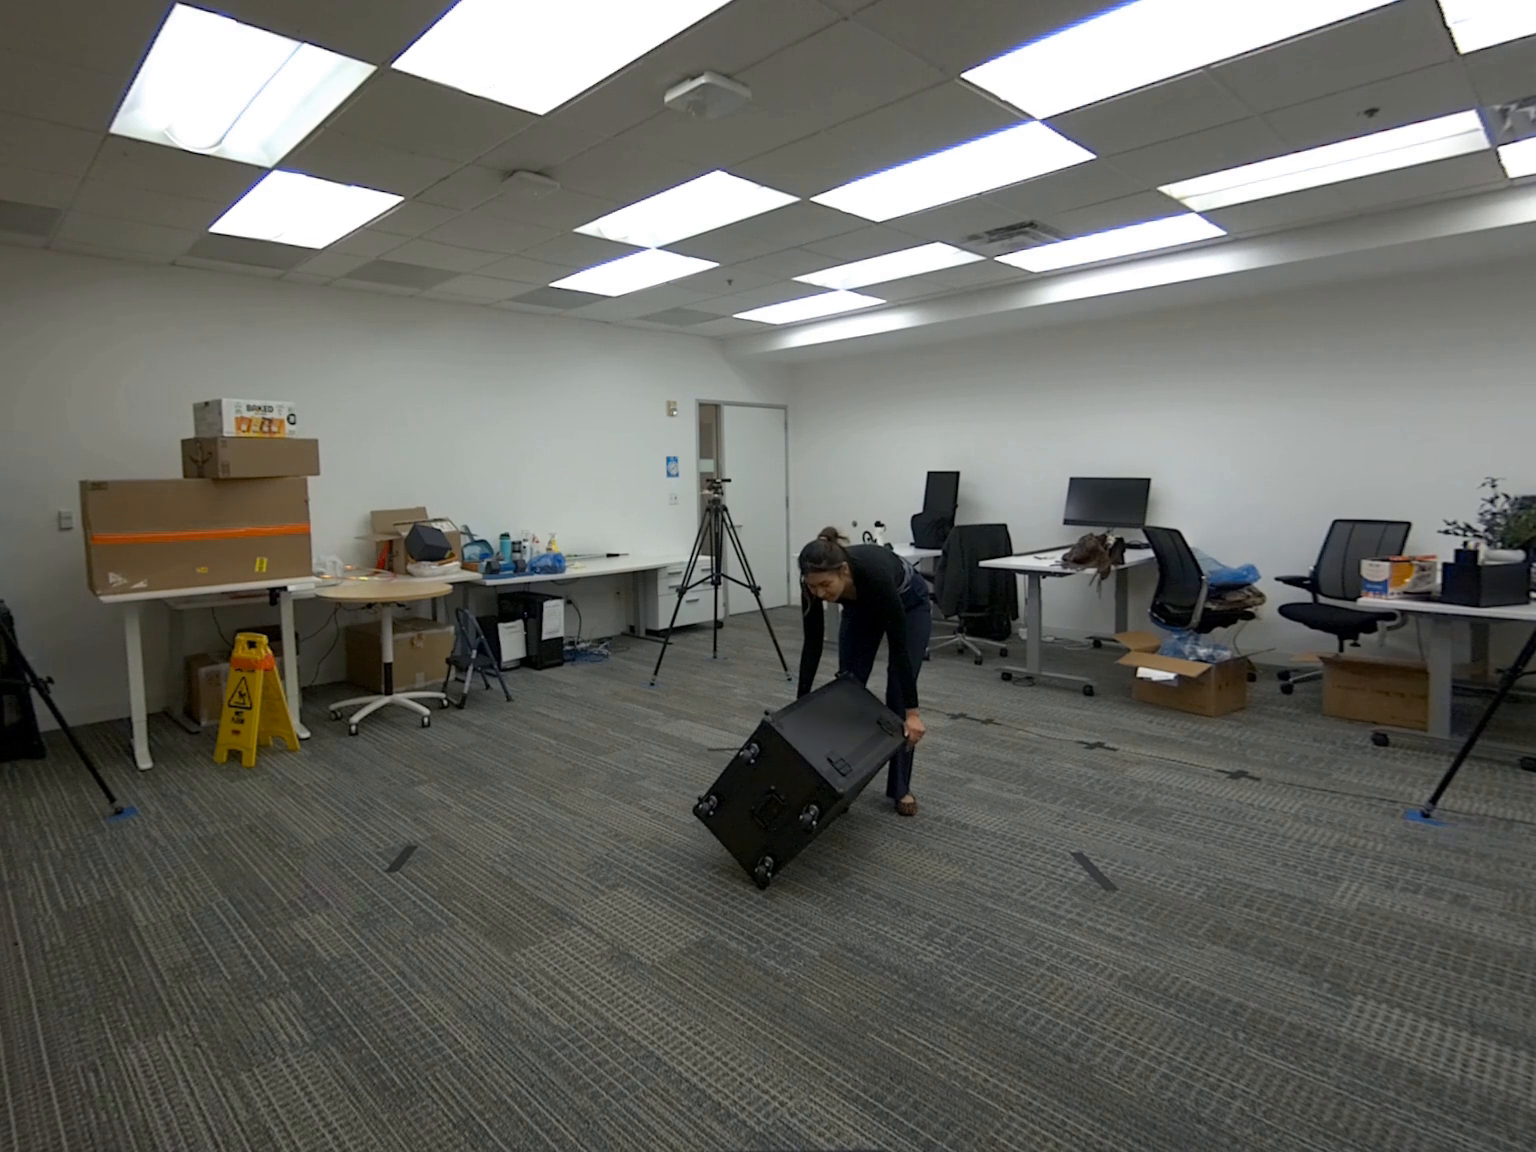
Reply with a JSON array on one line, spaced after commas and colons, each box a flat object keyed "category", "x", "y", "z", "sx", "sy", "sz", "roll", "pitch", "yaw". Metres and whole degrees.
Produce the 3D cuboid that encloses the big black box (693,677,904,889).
[{"category": "big black box", "x": 0.132, "y": 0.728, "z": 3.181, "sx": 0.406, "sy": 0.519, "sz": 0.844, "roll": 43, "pitch": 22, "yaw": 17}]
